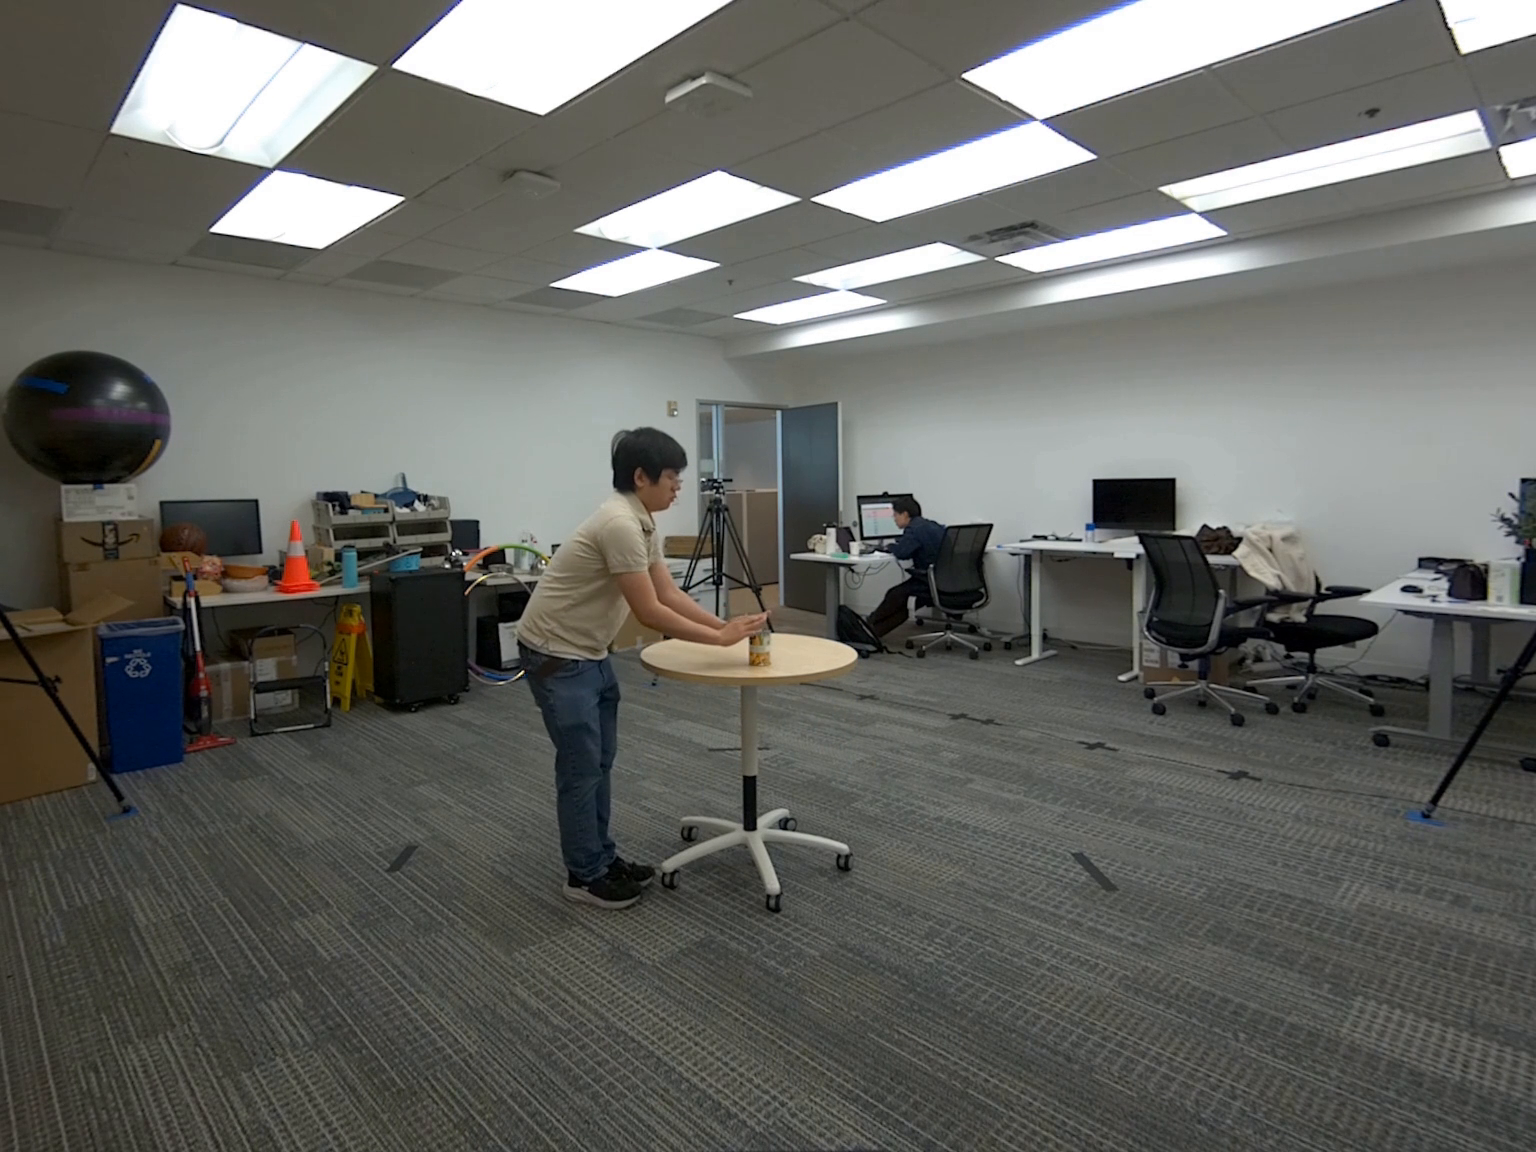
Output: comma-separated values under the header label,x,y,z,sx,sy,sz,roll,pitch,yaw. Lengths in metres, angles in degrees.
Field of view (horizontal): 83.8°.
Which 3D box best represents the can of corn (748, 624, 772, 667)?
label,x,y,z,sx,sy,sz,roll,pitch,yaw
can of corn,-0.031,0.237,2.831,0.074,0.110,0.074,0,5,-2
